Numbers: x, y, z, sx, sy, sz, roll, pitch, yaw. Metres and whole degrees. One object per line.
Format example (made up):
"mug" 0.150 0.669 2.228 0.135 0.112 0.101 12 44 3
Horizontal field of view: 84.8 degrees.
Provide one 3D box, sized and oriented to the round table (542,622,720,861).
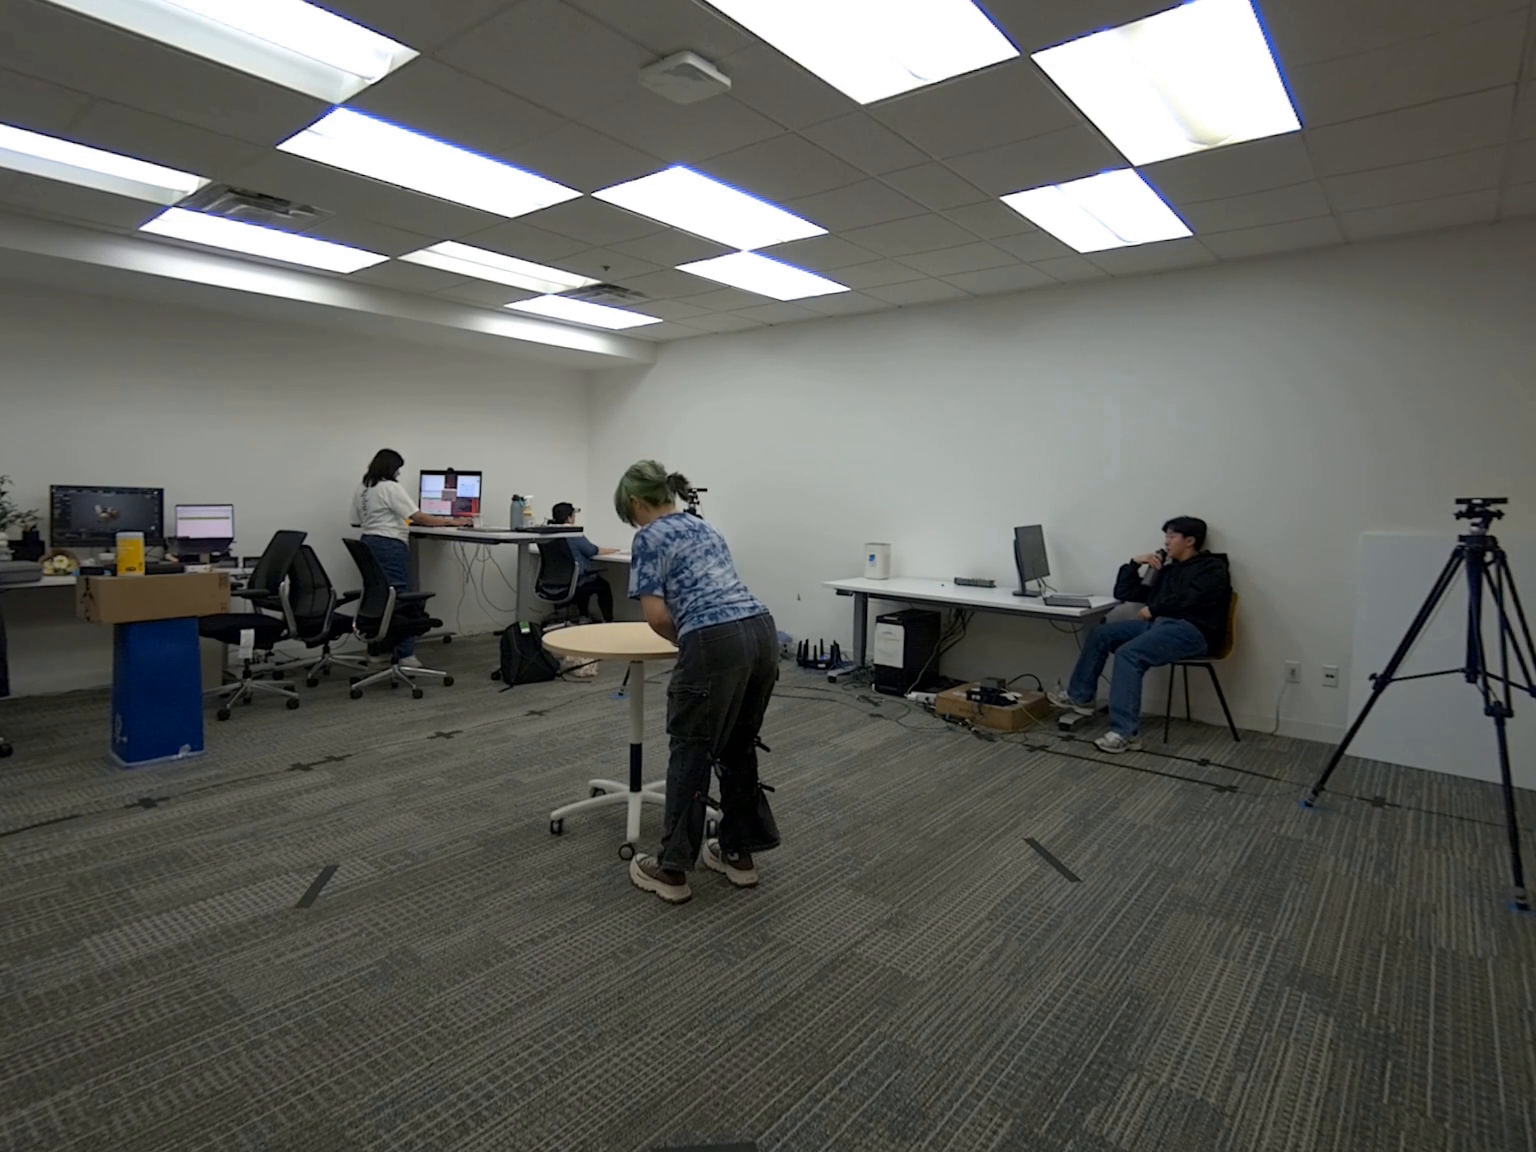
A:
"round table" -0.562 0.638 3.509 0.763 0.792 0.767 1 4 -2
